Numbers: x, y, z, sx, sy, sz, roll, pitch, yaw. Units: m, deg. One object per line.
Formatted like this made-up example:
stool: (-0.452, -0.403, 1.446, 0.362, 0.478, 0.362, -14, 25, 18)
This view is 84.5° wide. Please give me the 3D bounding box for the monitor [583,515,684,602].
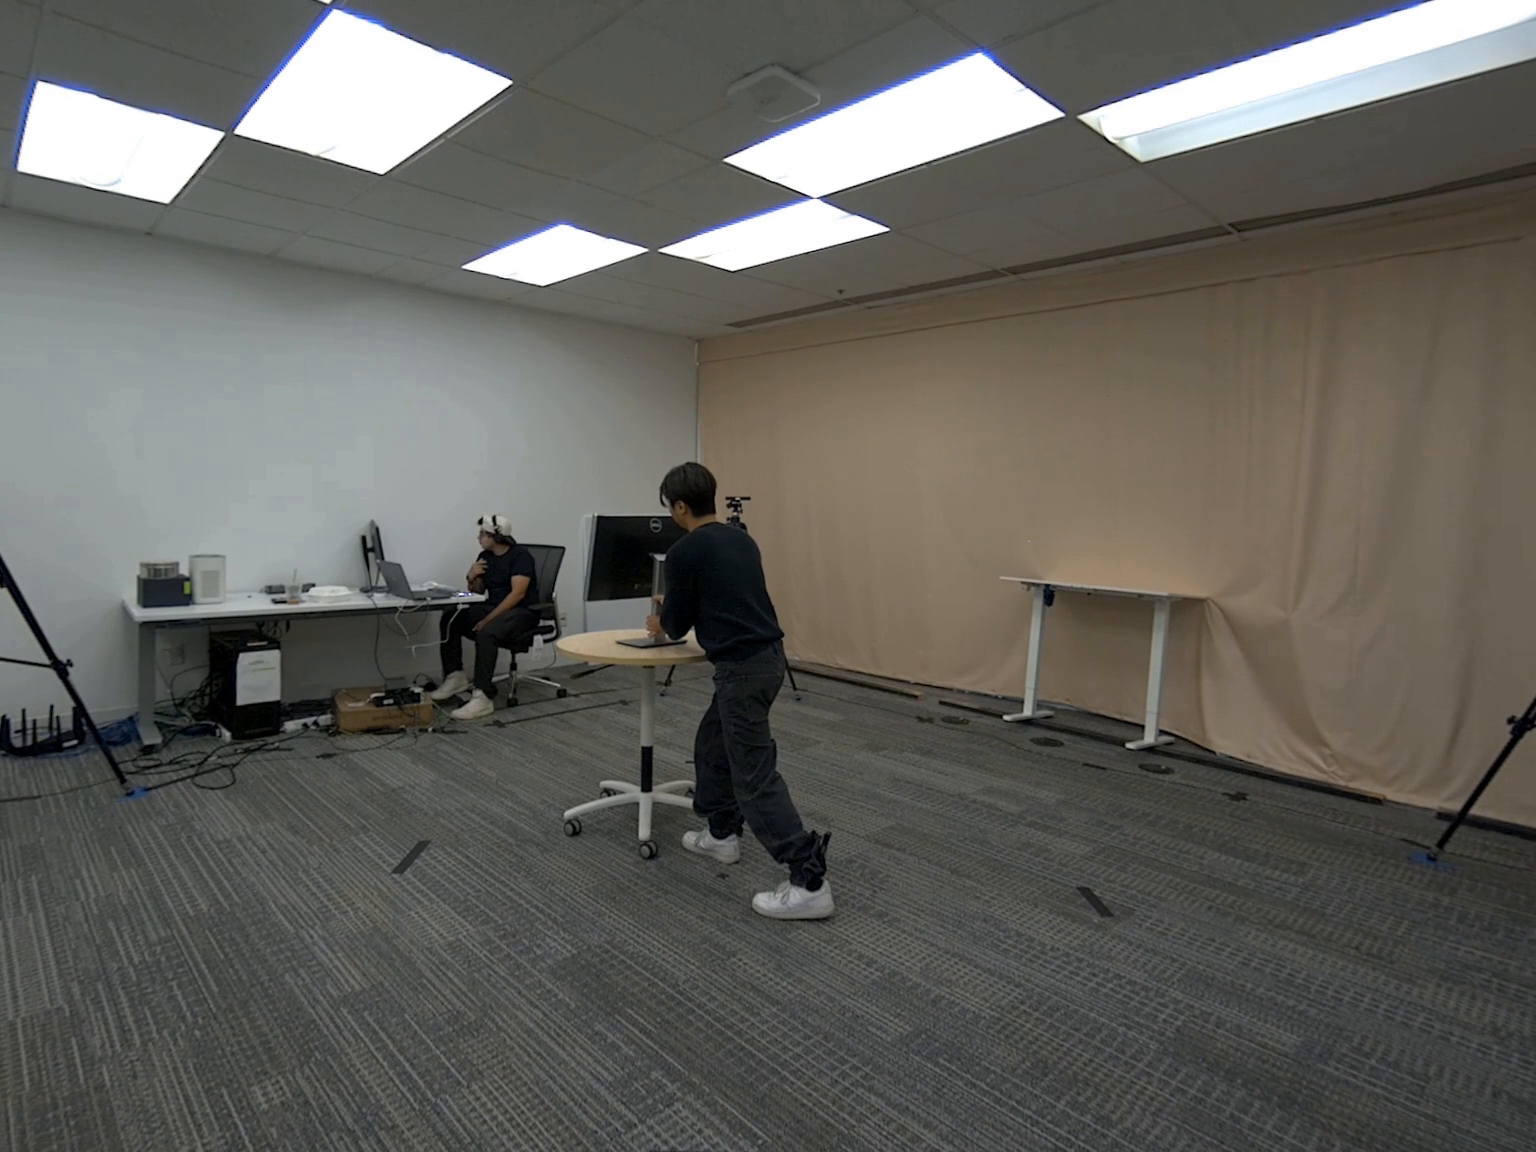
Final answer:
monitor: (-0.494, 0.010, 3.525, 0.518, 0.516, 0.178, -4, 0, -43)
